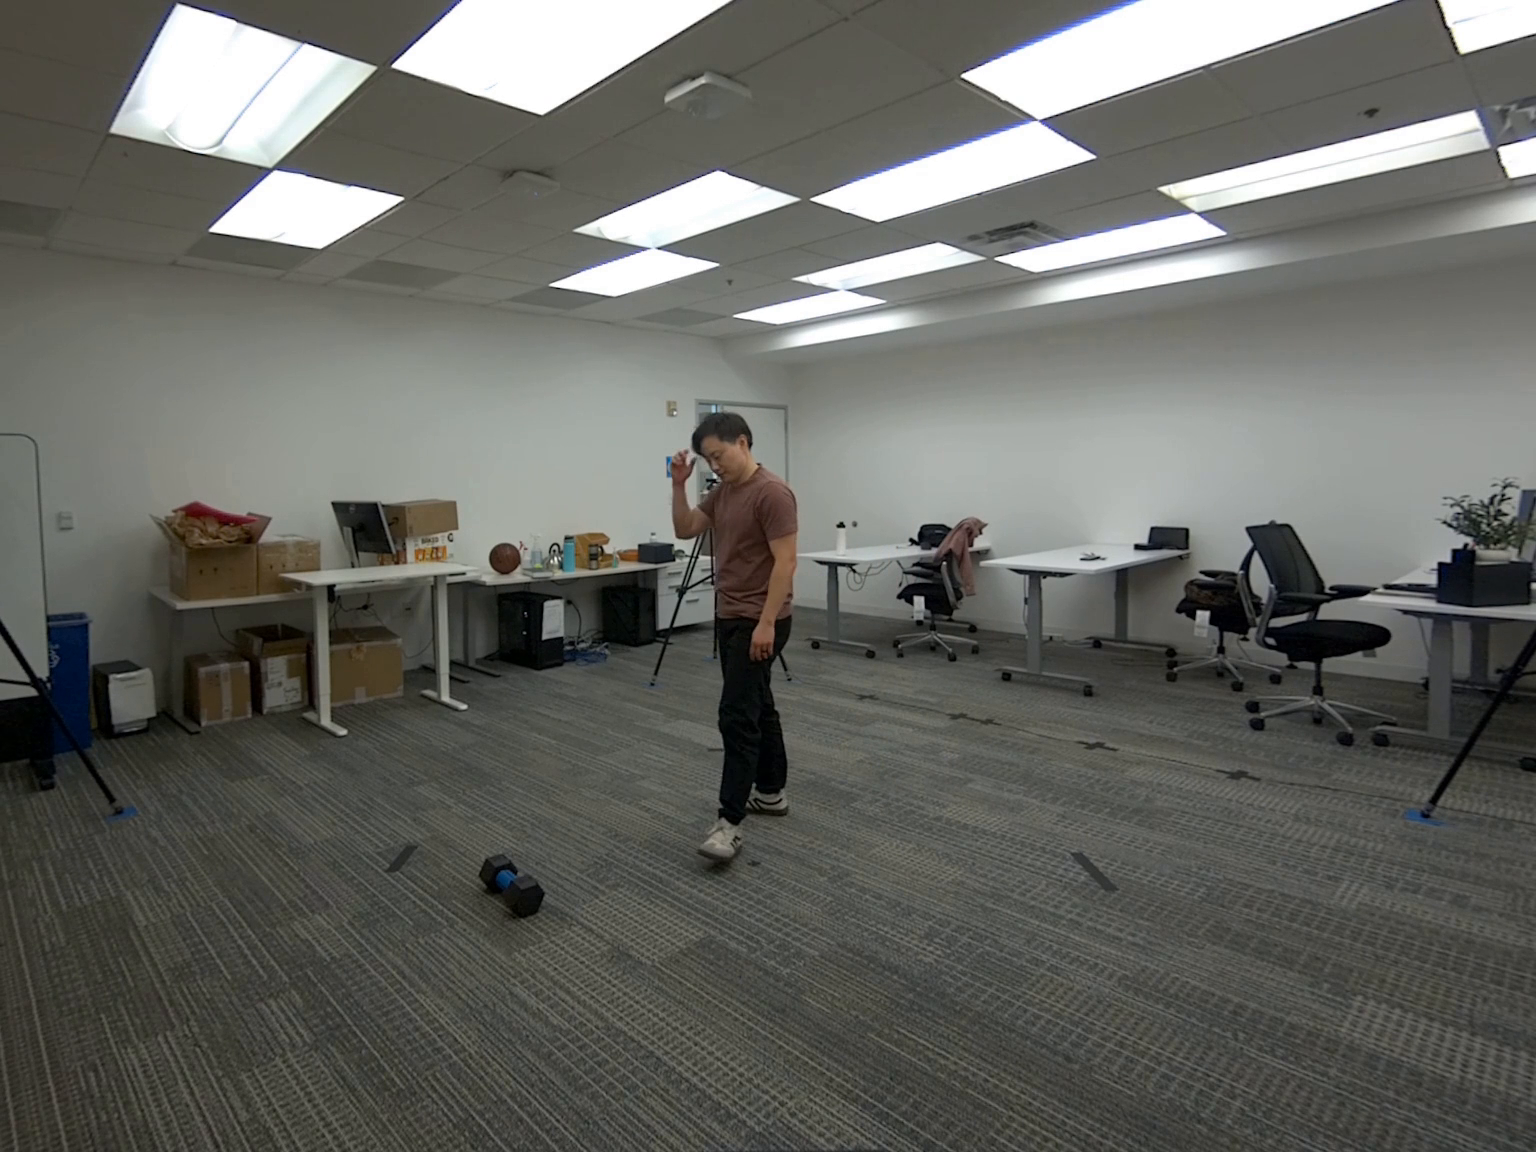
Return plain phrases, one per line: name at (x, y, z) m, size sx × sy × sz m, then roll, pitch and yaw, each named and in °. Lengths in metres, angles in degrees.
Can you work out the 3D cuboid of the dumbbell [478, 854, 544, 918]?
dumbbell at (-0.858, 1.035, 2.866) m, size 0.120 × 0.108 × 0.302 m, roll -6°, pitch 8°, yaw -38°
